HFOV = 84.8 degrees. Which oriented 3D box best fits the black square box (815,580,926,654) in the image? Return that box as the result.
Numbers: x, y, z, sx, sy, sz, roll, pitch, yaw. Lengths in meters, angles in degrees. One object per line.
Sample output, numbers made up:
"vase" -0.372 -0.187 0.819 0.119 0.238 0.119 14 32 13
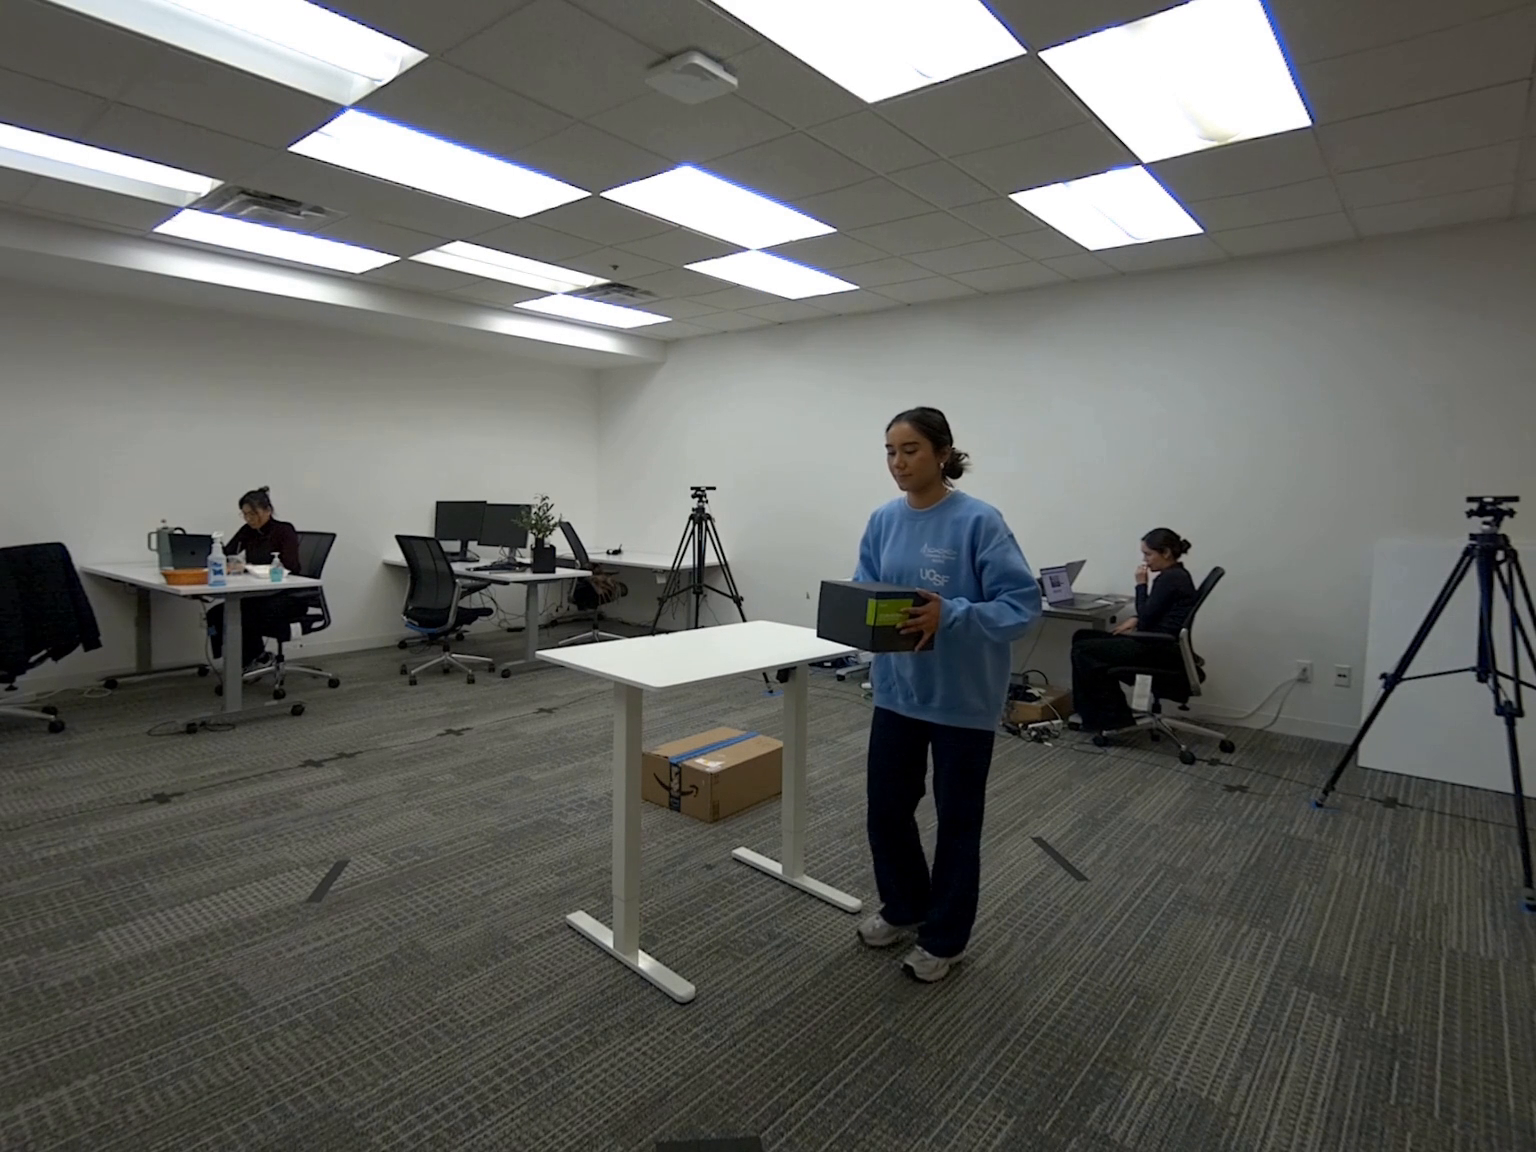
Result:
"black square box" 0.271 0.107 2.241 0.221 0.155 0.224 2 4 -31
